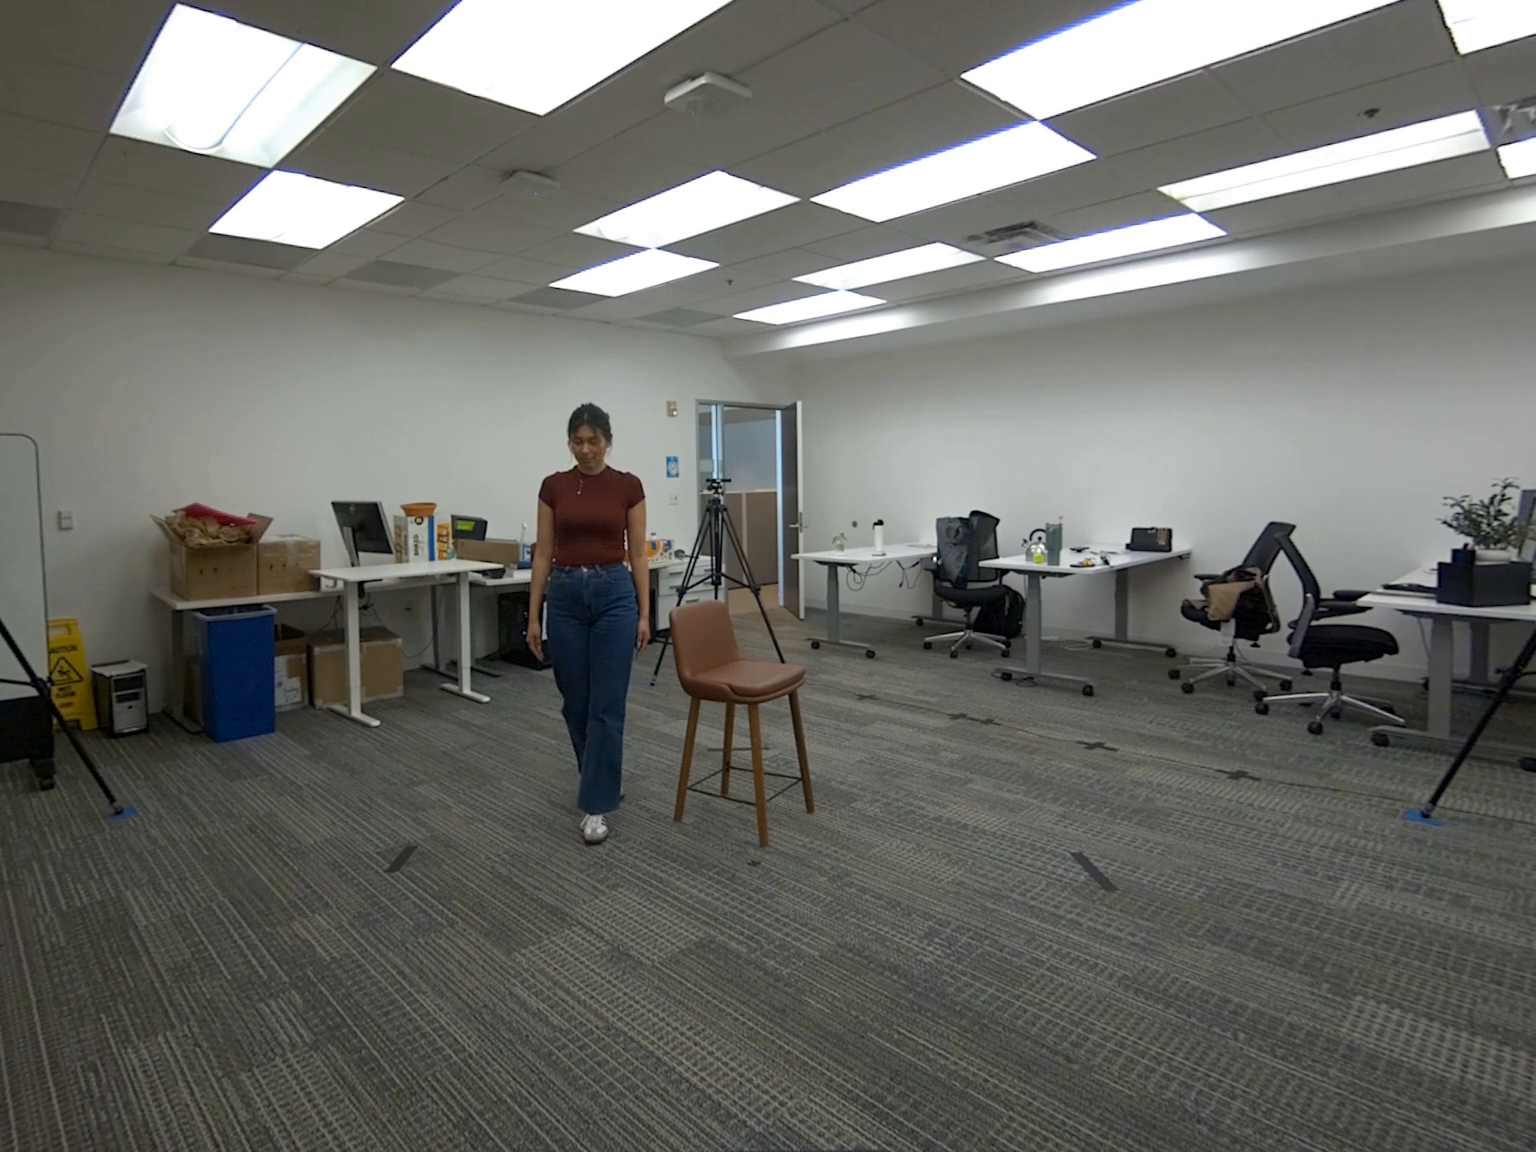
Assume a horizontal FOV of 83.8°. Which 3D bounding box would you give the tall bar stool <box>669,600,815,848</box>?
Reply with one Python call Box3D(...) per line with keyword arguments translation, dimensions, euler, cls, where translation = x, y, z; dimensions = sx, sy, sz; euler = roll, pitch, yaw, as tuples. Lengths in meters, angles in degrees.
Box3D(translation=(-0.115, 0.561, 3.513), dimensions=(0.480, 0.888, 0.445), euler=(-1, 3, 33), cls="tall bar stool")
